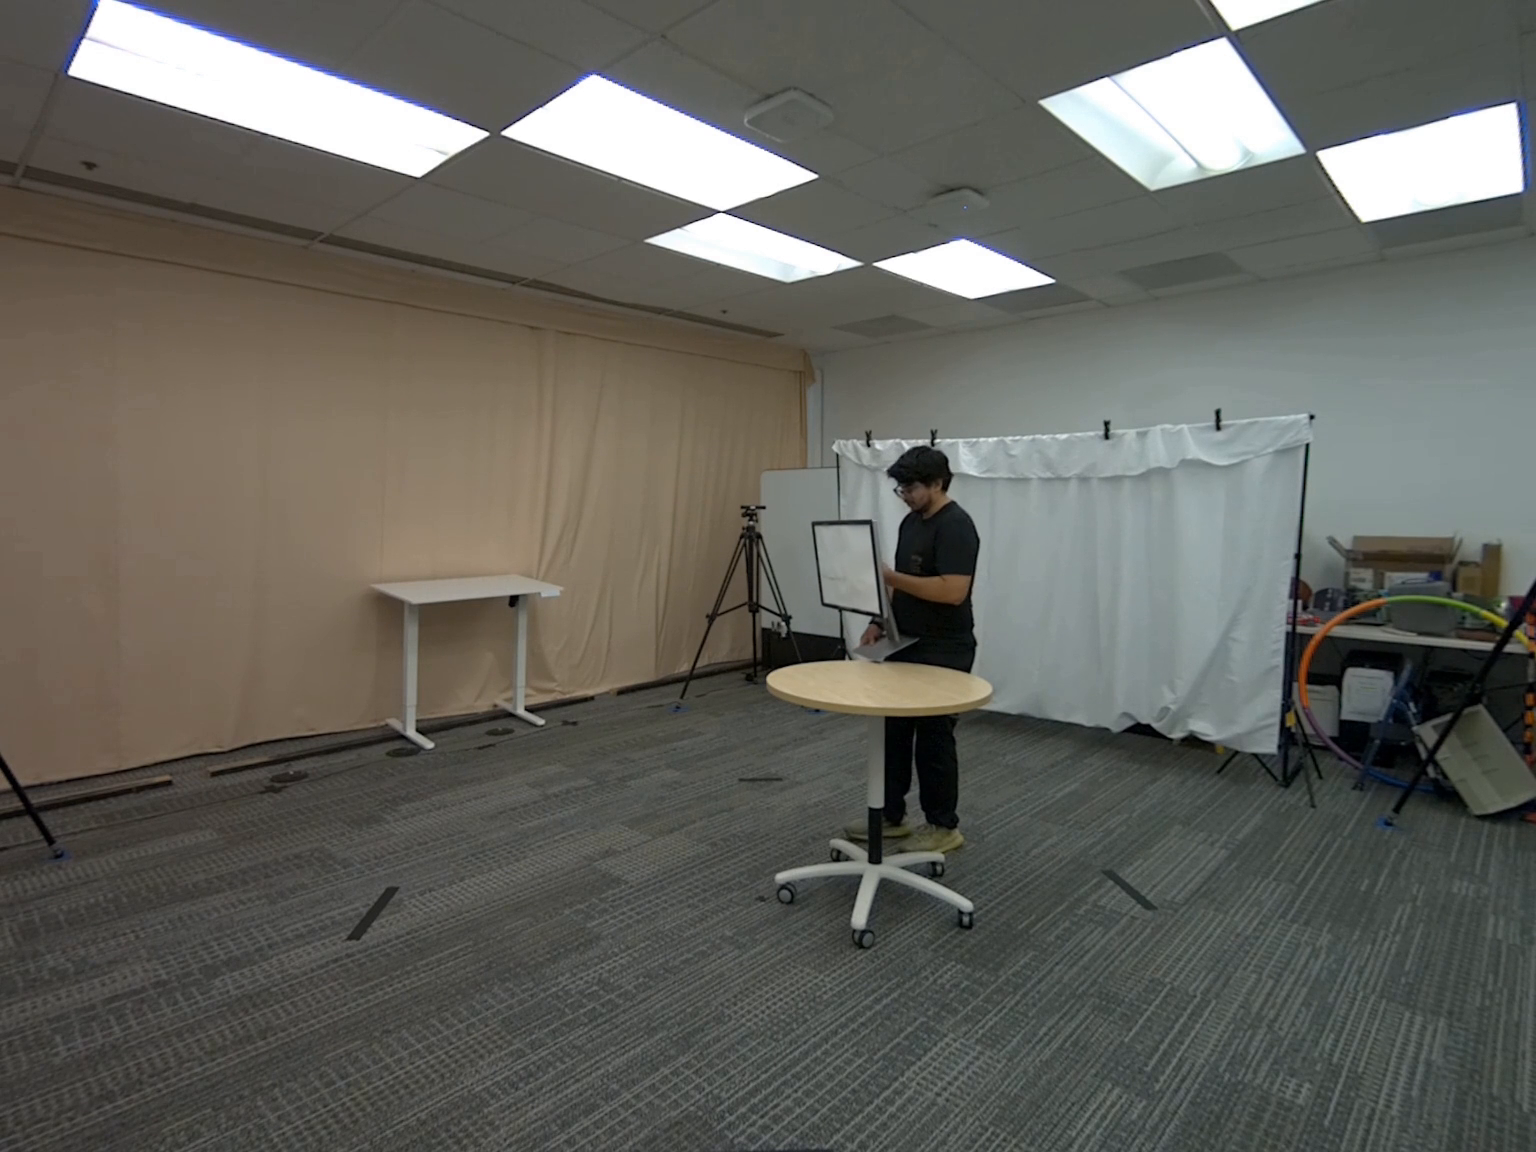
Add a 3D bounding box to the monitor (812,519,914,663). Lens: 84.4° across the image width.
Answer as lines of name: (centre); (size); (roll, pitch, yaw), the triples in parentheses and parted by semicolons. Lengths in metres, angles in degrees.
monitor: (0.401, 0.033, 3.345); (0.207, 0.551, 0.577); (-16, 7, -18)
